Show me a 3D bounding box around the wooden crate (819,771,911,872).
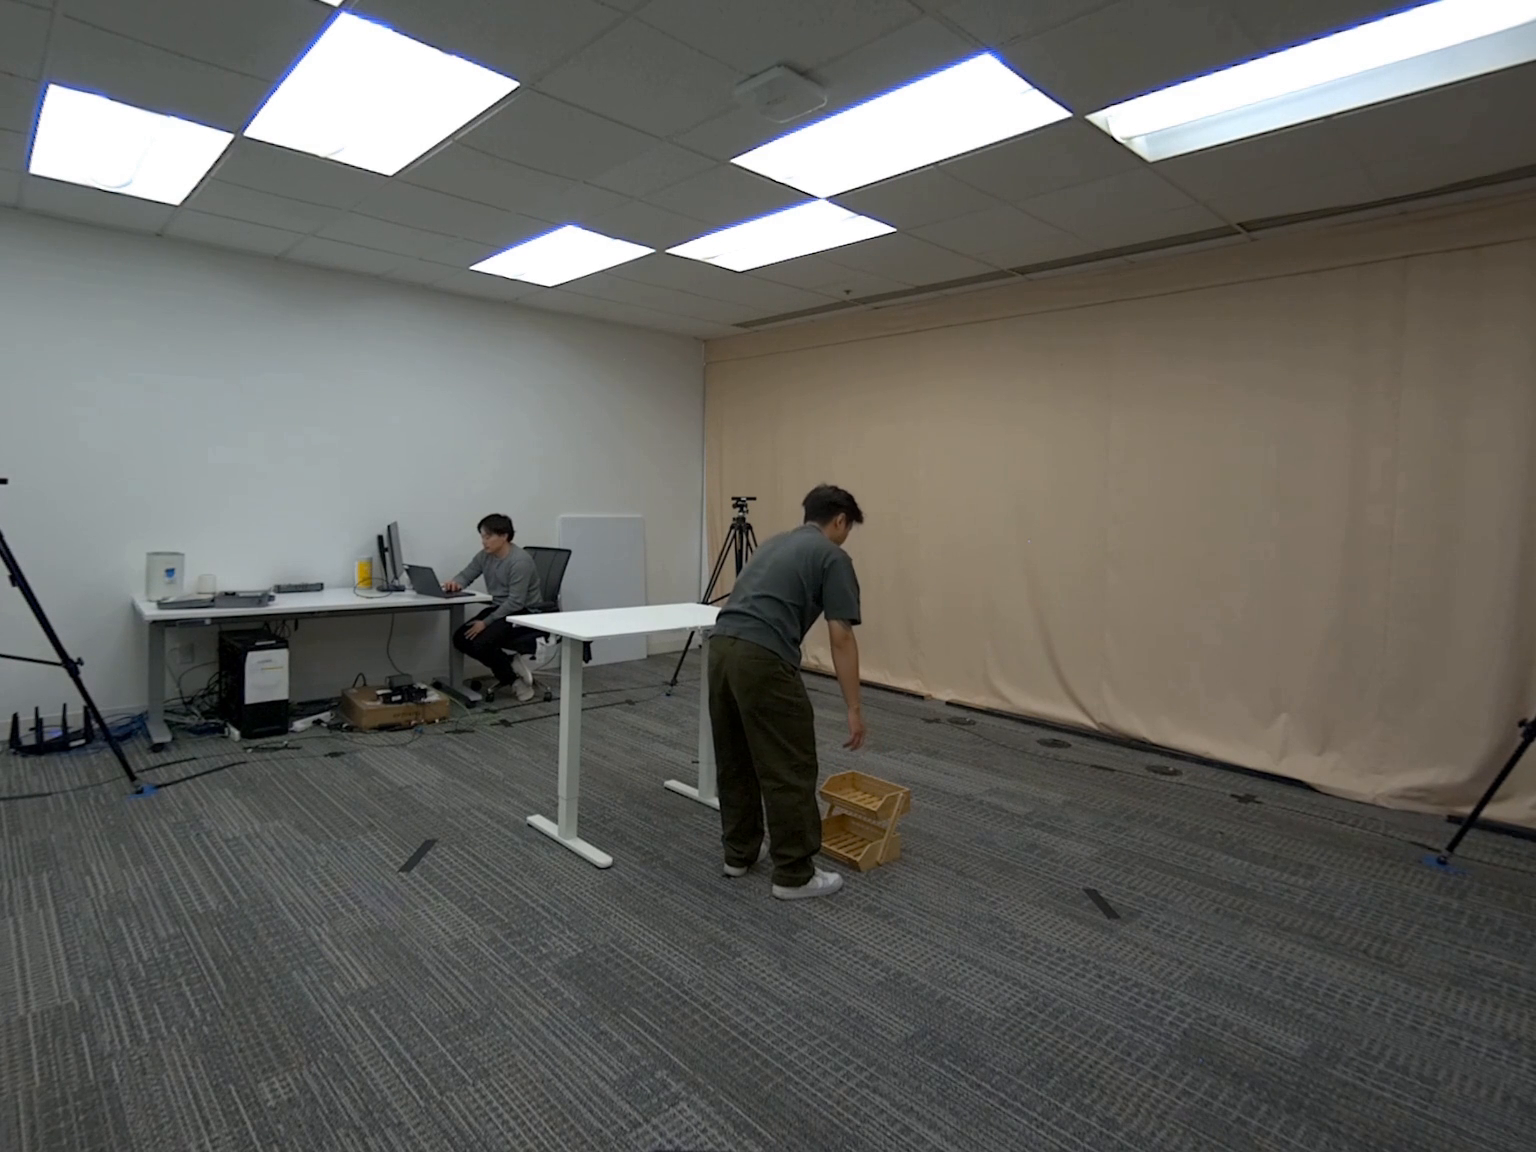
[{"bbox_3d":[0.344,0.962,3.356,0.295,0.273,0.333,-1,4,-42],"label":"wooden crate"}]
